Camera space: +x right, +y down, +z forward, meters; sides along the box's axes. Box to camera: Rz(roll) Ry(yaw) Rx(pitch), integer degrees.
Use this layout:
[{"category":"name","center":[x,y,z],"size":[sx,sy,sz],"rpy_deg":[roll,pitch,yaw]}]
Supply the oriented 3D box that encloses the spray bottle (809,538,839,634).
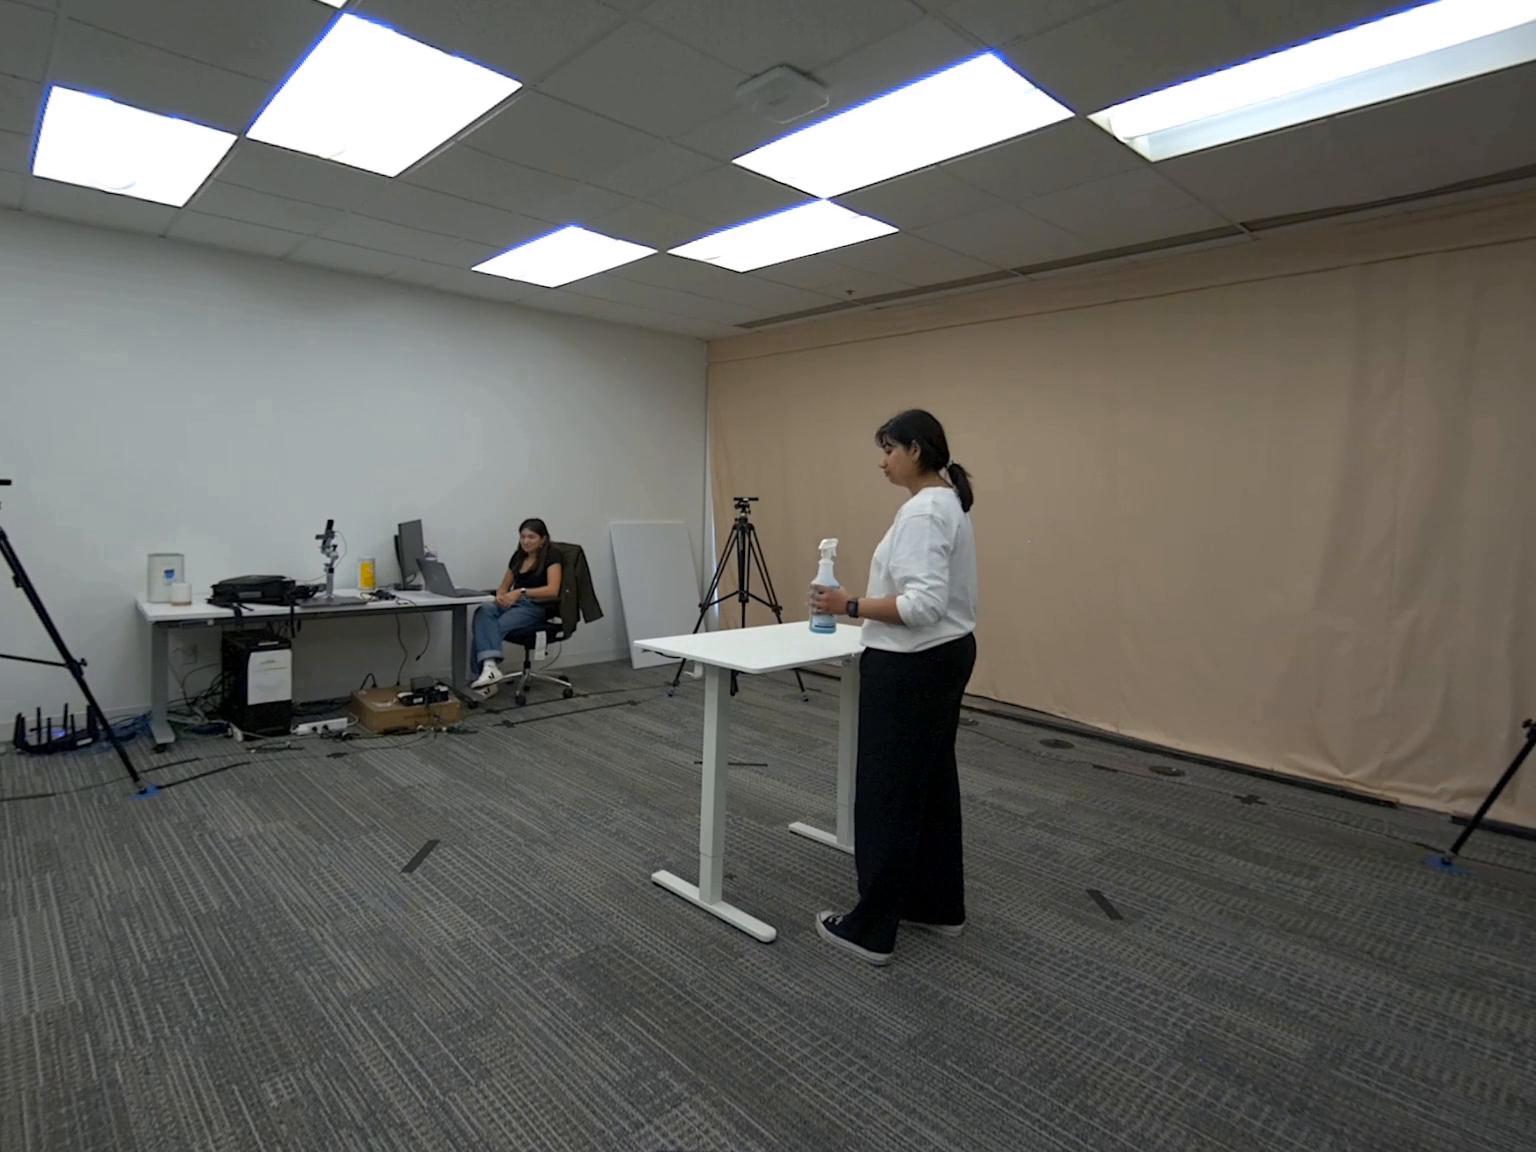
[{"category":"spray bottle","center":[0.182,0.035,2.665],"size":[0.088,0.296,0.089],"rpy_deg":[4,4,-25]}]
